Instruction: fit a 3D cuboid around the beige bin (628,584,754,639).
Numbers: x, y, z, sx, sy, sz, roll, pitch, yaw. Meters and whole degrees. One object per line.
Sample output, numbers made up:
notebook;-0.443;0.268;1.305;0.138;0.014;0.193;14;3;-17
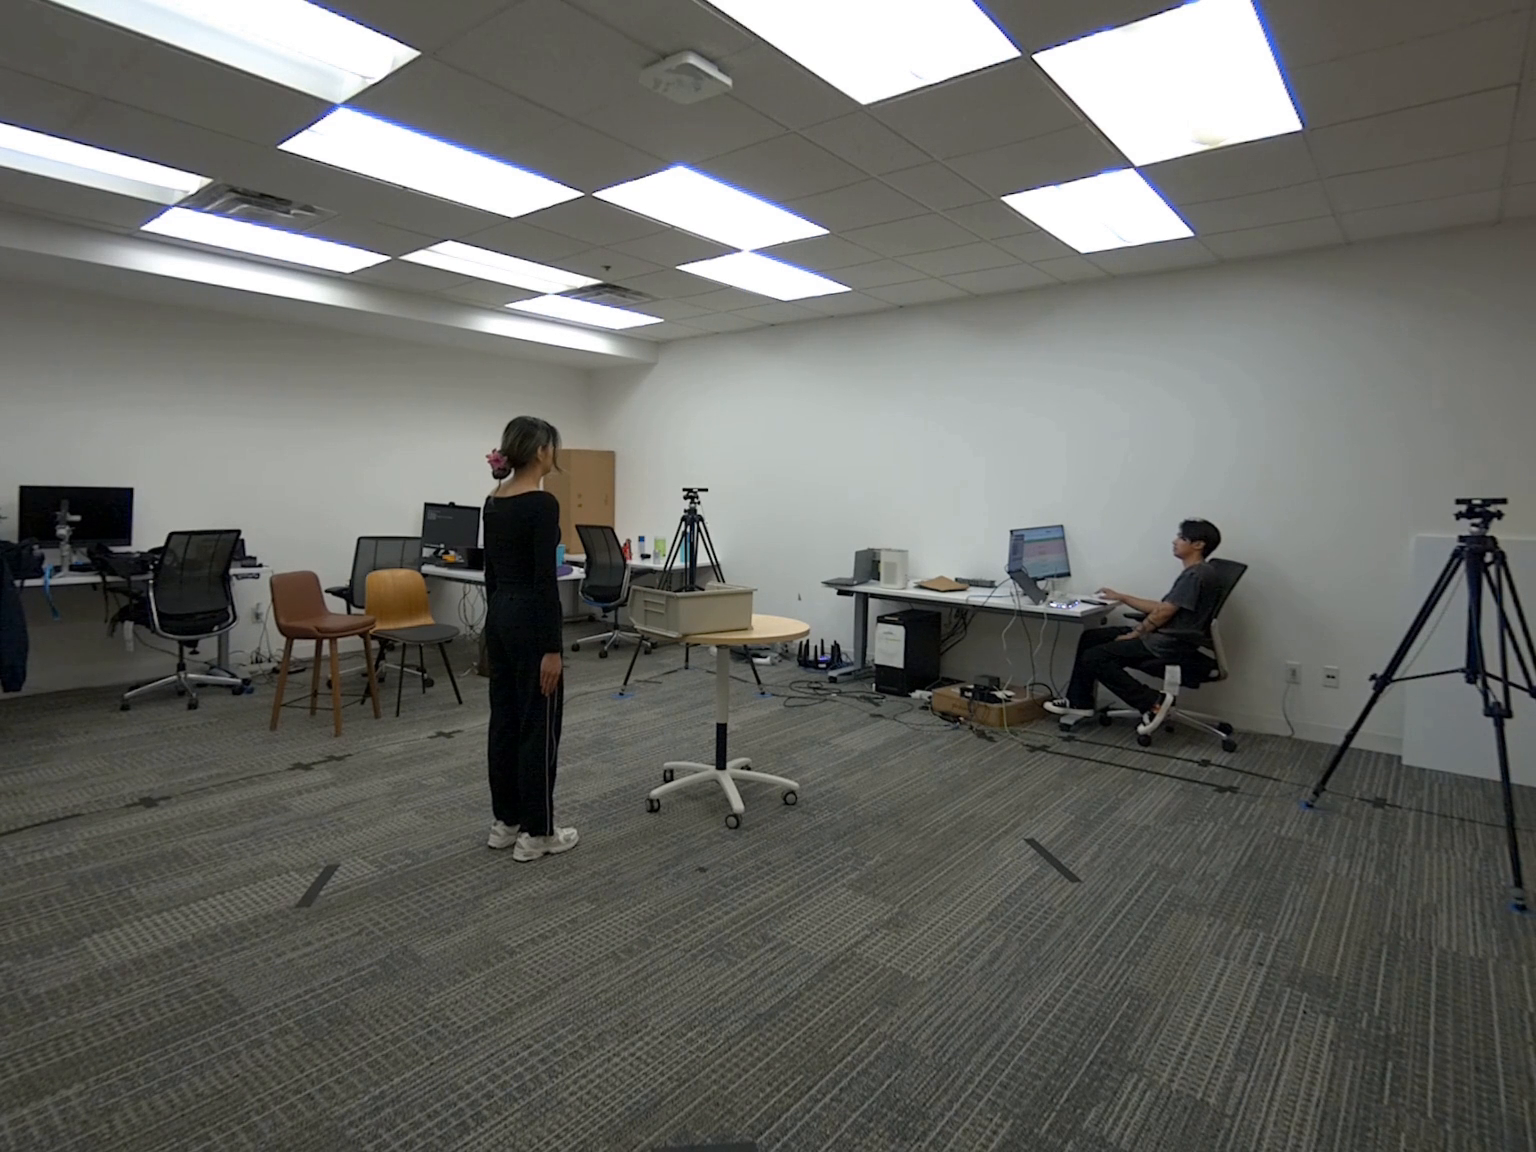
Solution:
beige bin;-0.347;0.131;3.649;0.409;0.188;0.390;-2;7;-40
